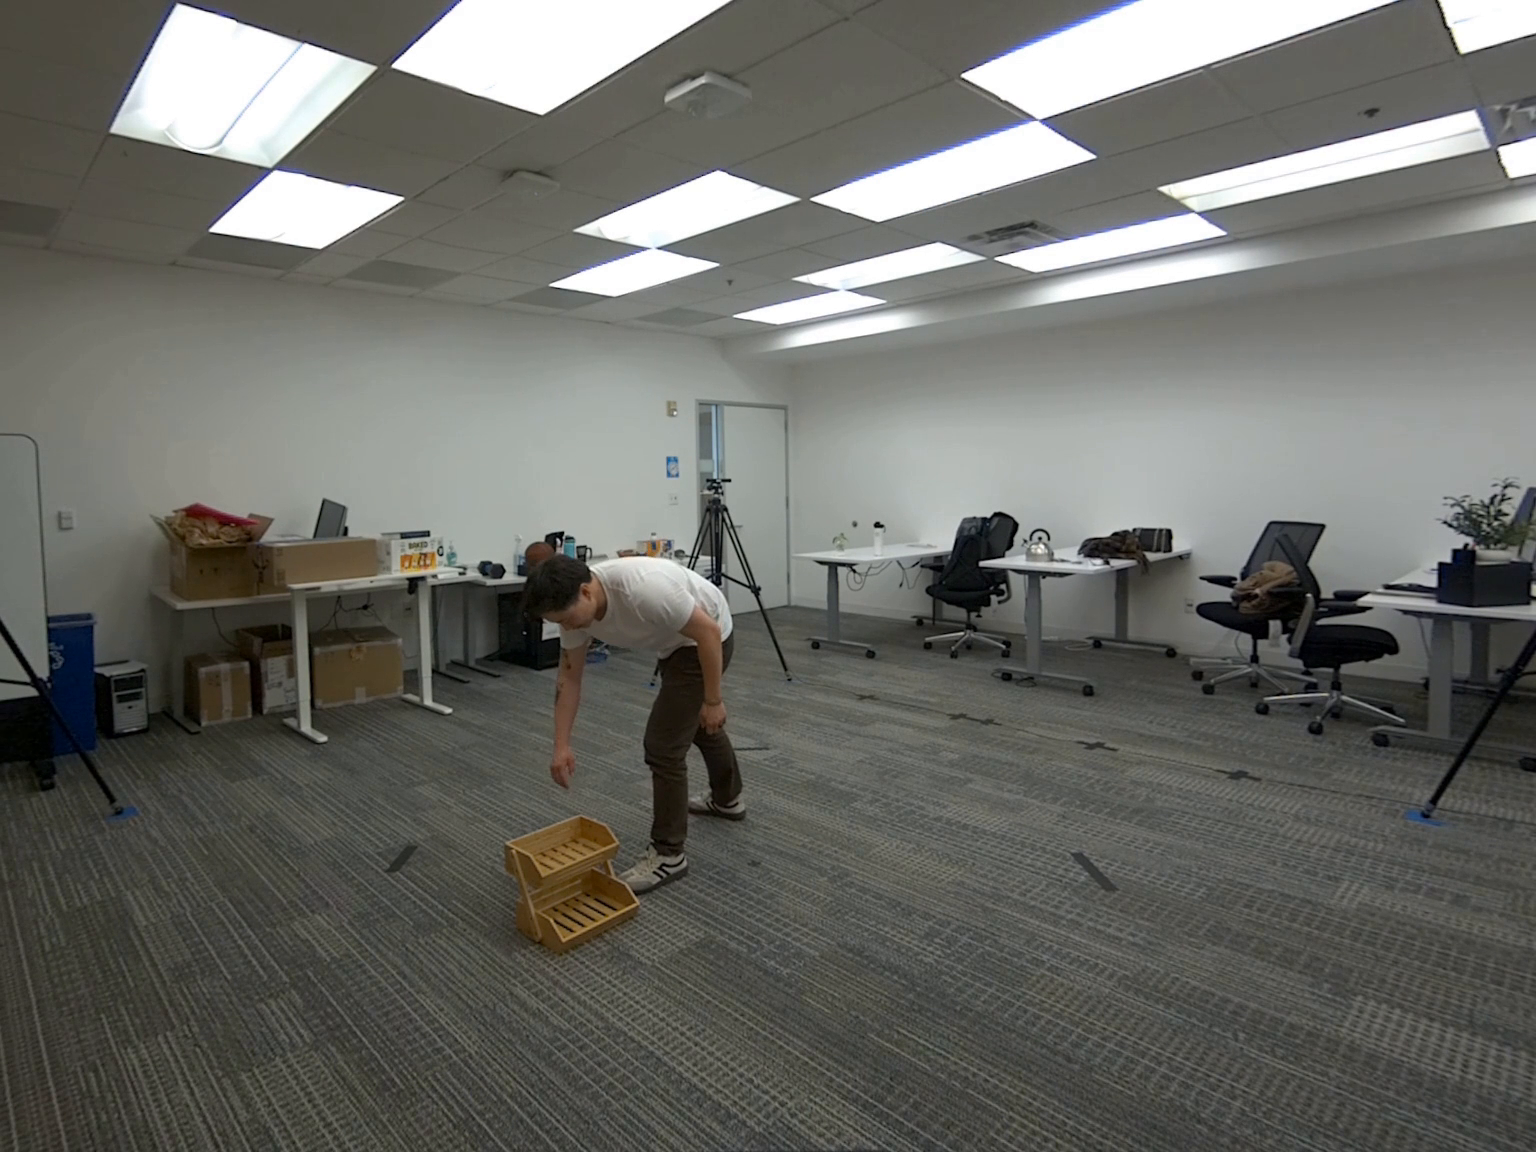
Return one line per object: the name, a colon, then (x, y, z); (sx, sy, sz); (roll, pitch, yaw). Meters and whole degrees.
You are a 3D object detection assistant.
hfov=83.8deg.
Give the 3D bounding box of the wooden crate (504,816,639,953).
wooden crate: (-0.620, 0.966, 2.722); (0.311, 0.272, 0.316); (3, 7, 42)
